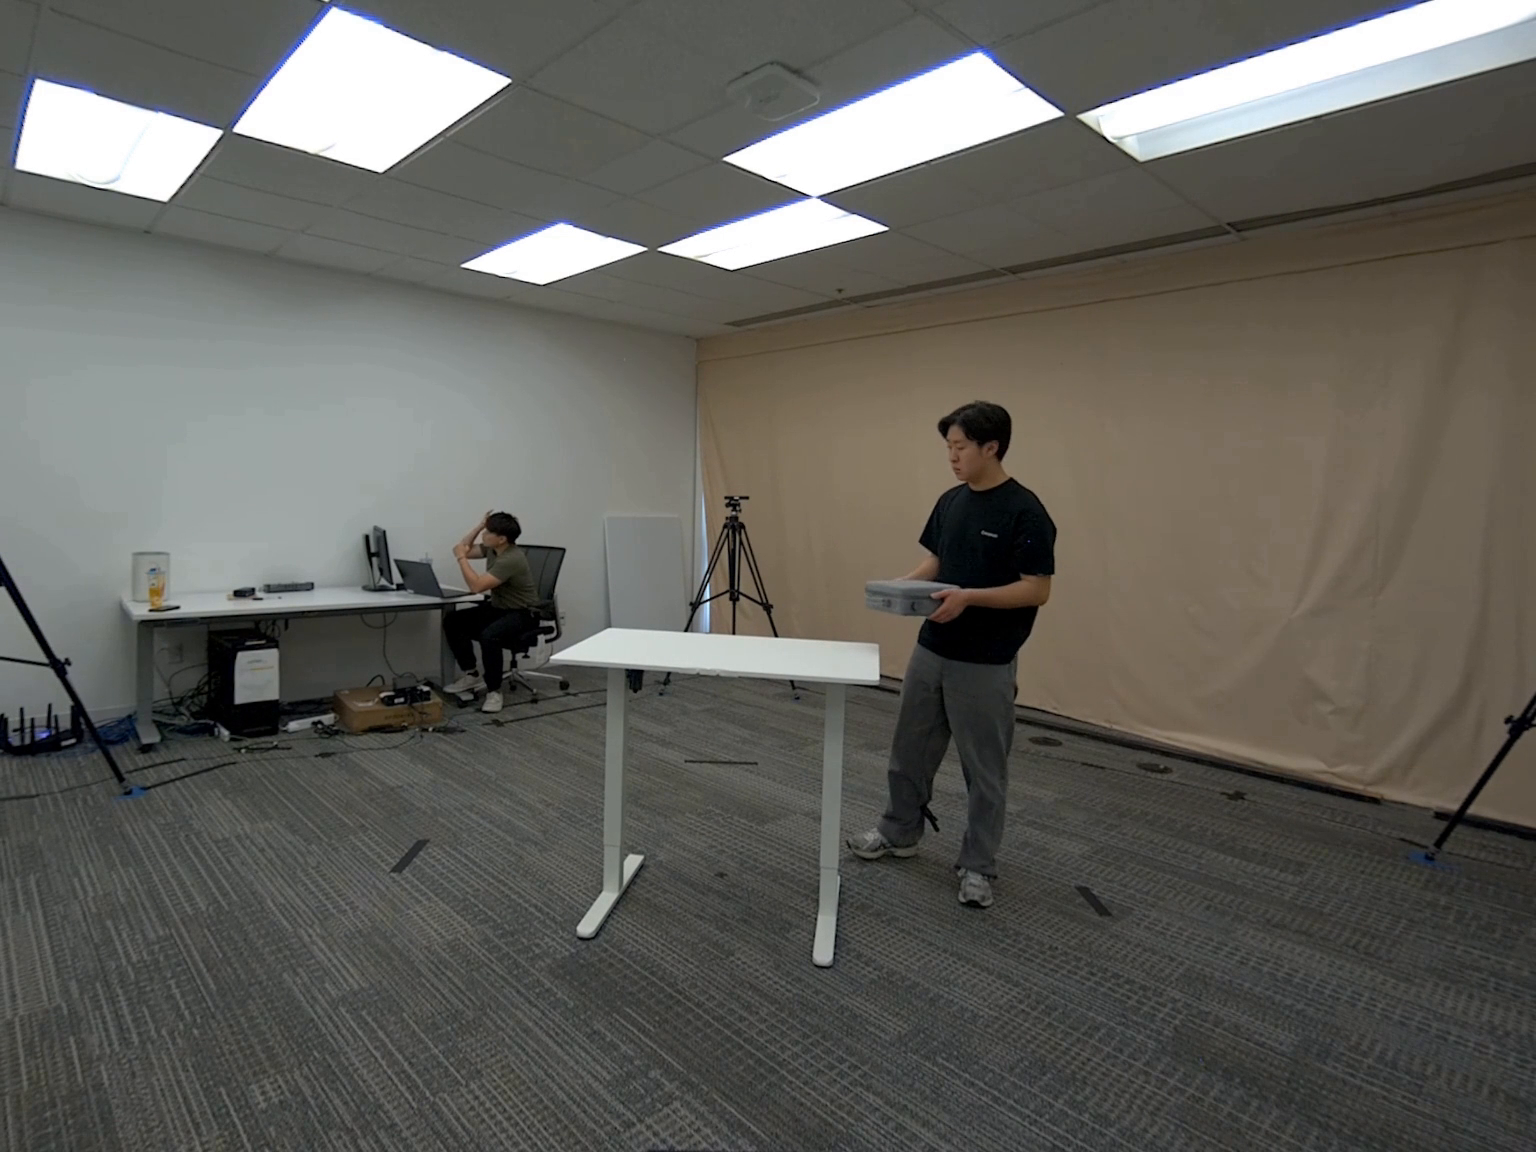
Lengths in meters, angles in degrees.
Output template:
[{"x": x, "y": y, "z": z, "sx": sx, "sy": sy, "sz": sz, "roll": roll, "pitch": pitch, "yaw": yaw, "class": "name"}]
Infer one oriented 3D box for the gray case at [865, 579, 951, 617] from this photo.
[{"x": 0.477, "y": 0.070, "z": 2.933, "sx": 0.259, "sy": 0.103, "sz": 0.293, "roll": 0, "pitch": 5, "yaw": -24, "class": "gray case"}]
